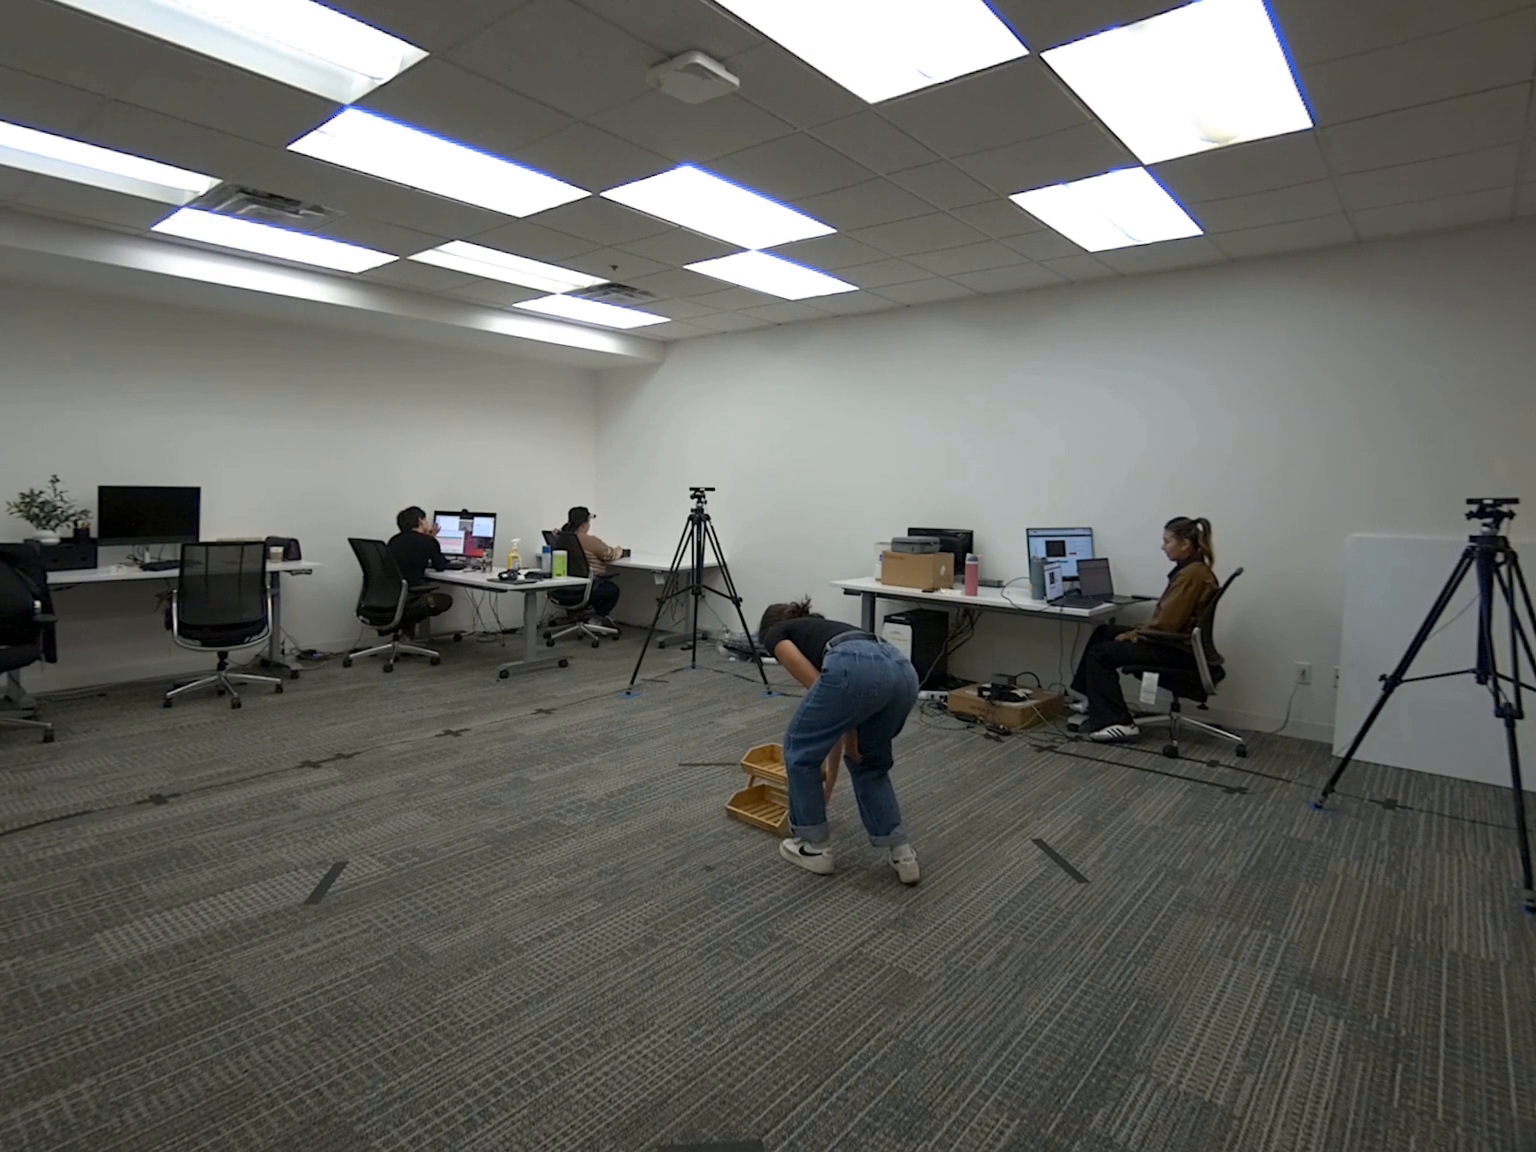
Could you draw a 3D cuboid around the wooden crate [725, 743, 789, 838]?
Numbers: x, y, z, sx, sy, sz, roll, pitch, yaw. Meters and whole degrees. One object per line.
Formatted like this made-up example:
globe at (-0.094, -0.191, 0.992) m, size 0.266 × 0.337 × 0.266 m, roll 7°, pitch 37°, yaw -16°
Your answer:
wooden crate at (0.020, 0.889, 3.603) m, size 0.335 × 0.272 × 0.293 m, roll 5°, pitch 5°, yaw 42°
